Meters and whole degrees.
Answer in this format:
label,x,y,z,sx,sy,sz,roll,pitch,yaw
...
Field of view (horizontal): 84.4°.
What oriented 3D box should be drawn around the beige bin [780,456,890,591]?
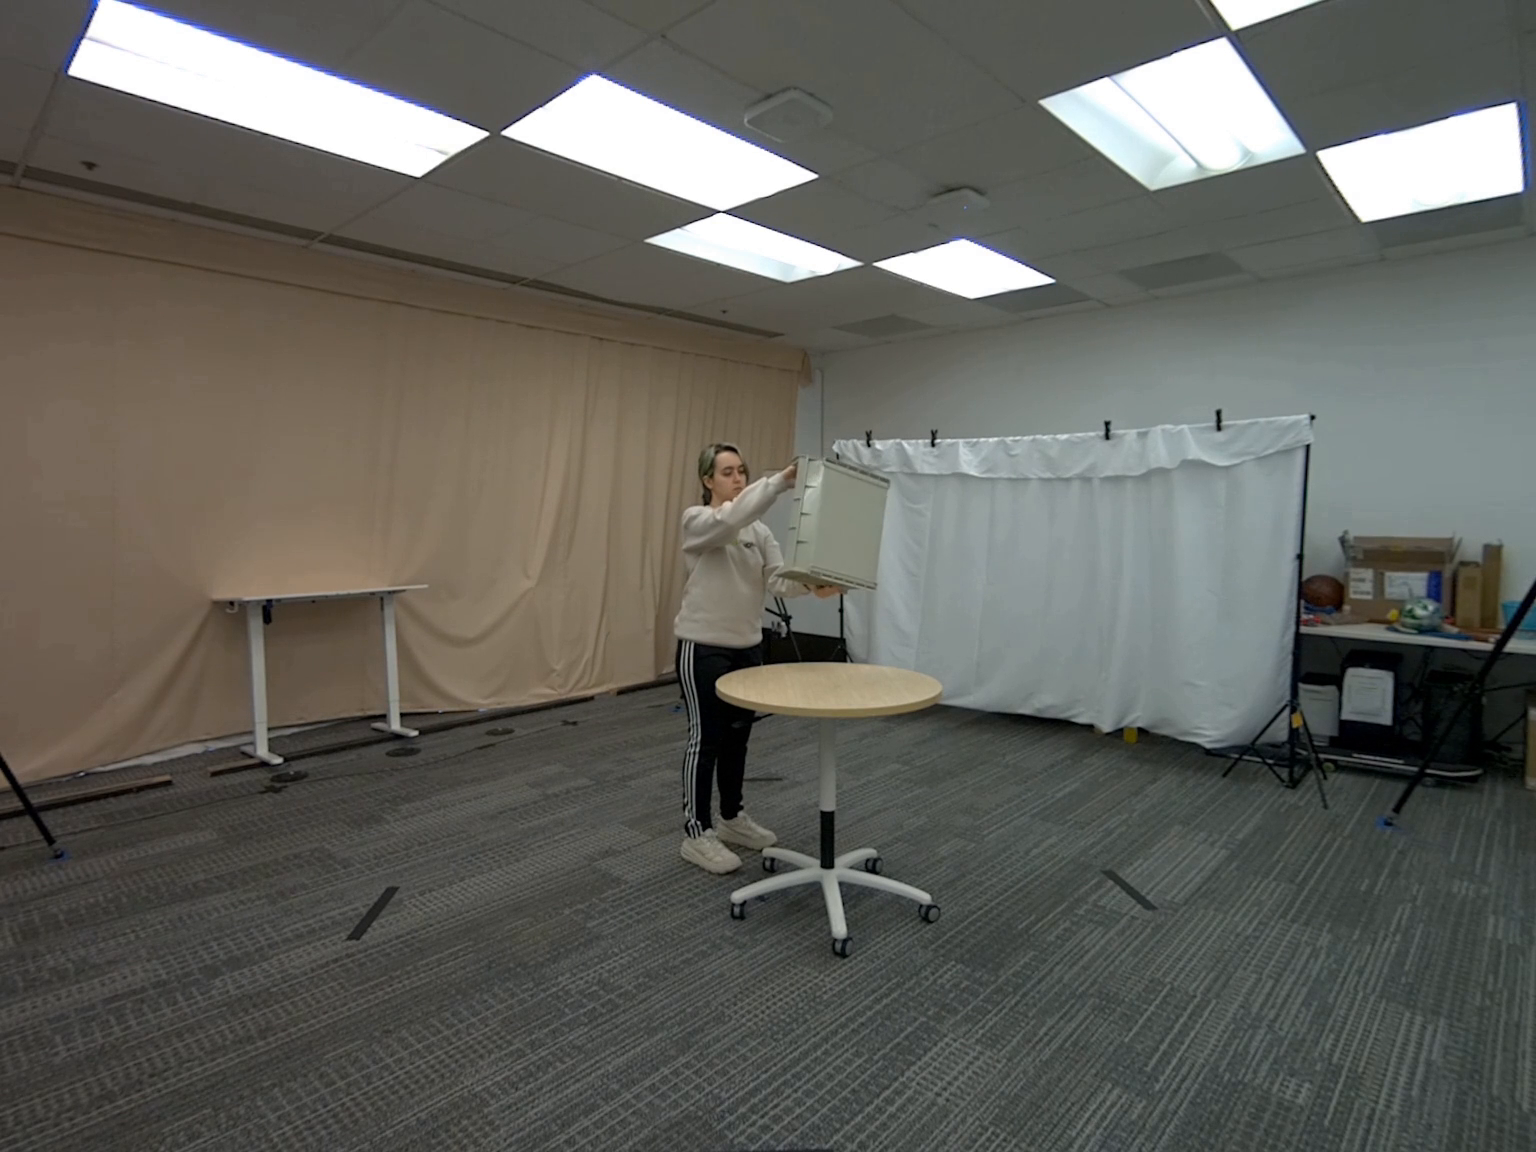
label,x,y,z,sx,sy,sz,roll,pitch,yaw
beige bin,0.229,-0.178,2.982,0.365,0.424,0.194,14,-12,-32
